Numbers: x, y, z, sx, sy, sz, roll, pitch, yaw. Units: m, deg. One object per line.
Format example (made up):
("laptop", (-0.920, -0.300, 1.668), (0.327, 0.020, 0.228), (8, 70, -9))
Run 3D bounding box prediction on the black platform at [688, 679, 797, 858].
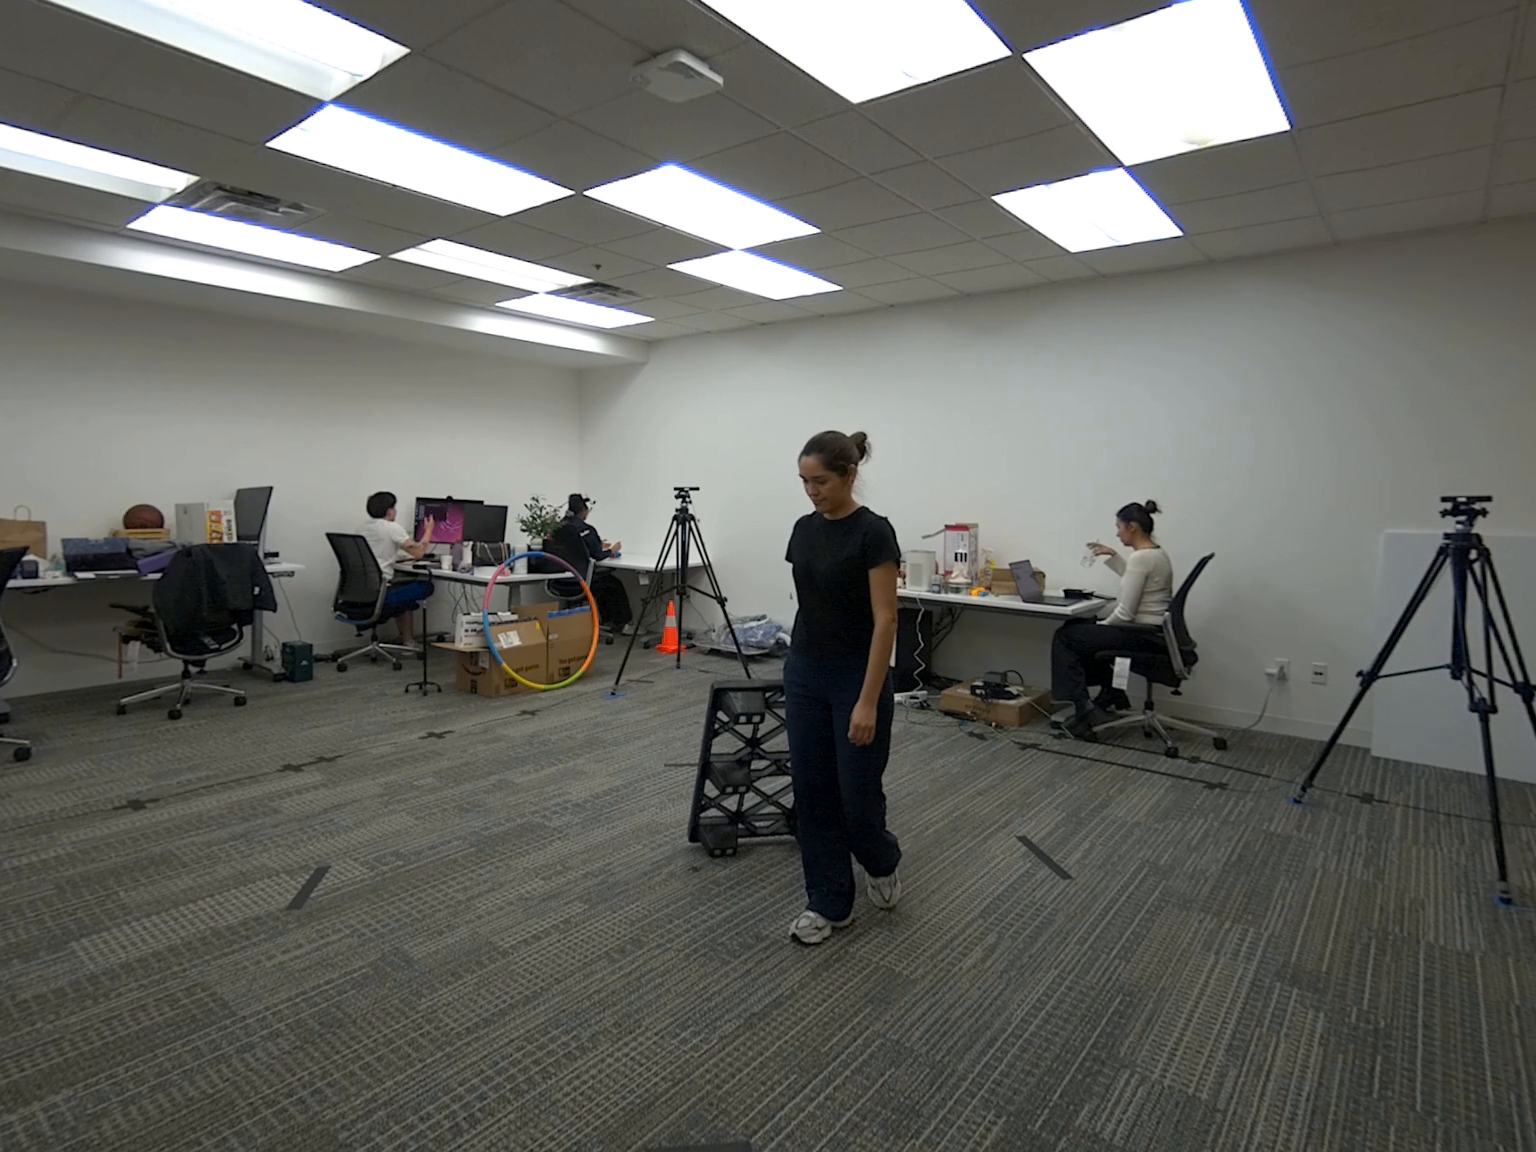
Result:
("black platform", (0.053, 0.718, 3.129), (0.596, 0.788, 0.148), (0, 33, -14))
